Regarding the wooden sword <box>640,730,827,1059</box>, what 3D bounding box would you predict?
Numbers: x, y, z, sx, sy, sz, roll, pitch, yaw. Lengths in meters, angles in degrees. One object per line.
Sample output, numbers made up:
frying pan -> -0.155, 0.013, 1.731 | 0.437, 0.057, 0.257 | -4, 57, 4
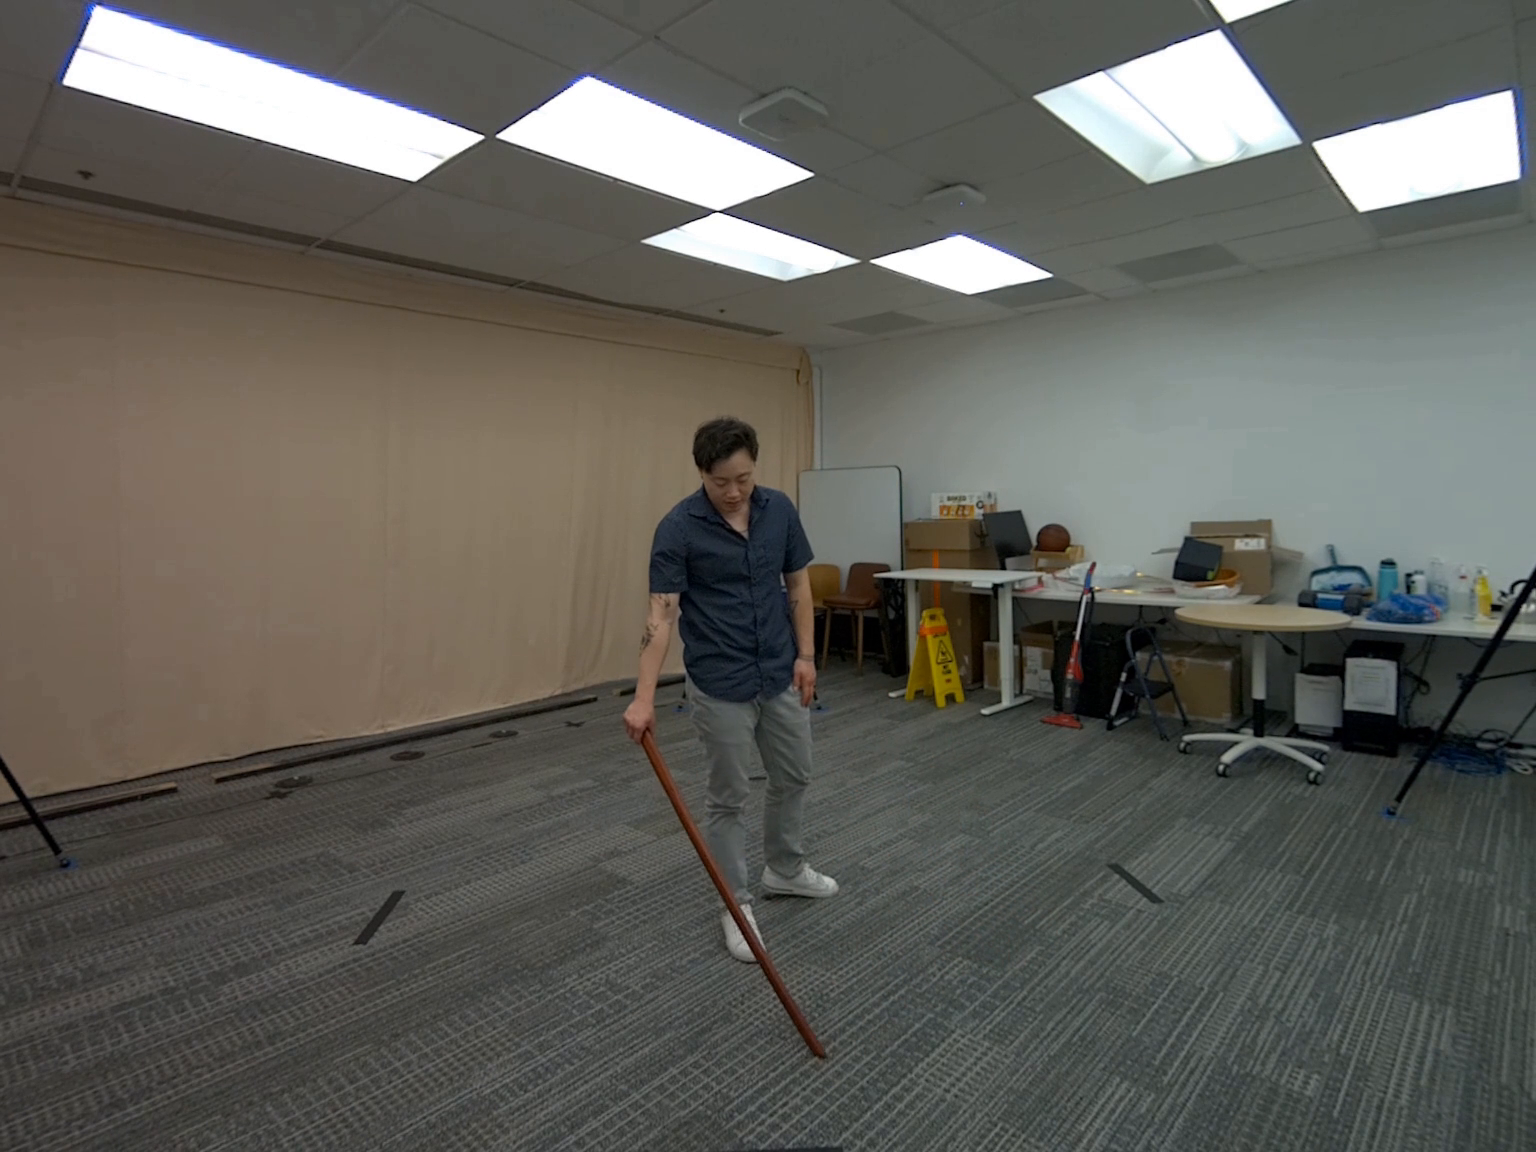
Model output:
wooden sword -> -0.140, 0.799, 2.313 | 0.051, 1.048, 0.023 | -37, -21, 3
